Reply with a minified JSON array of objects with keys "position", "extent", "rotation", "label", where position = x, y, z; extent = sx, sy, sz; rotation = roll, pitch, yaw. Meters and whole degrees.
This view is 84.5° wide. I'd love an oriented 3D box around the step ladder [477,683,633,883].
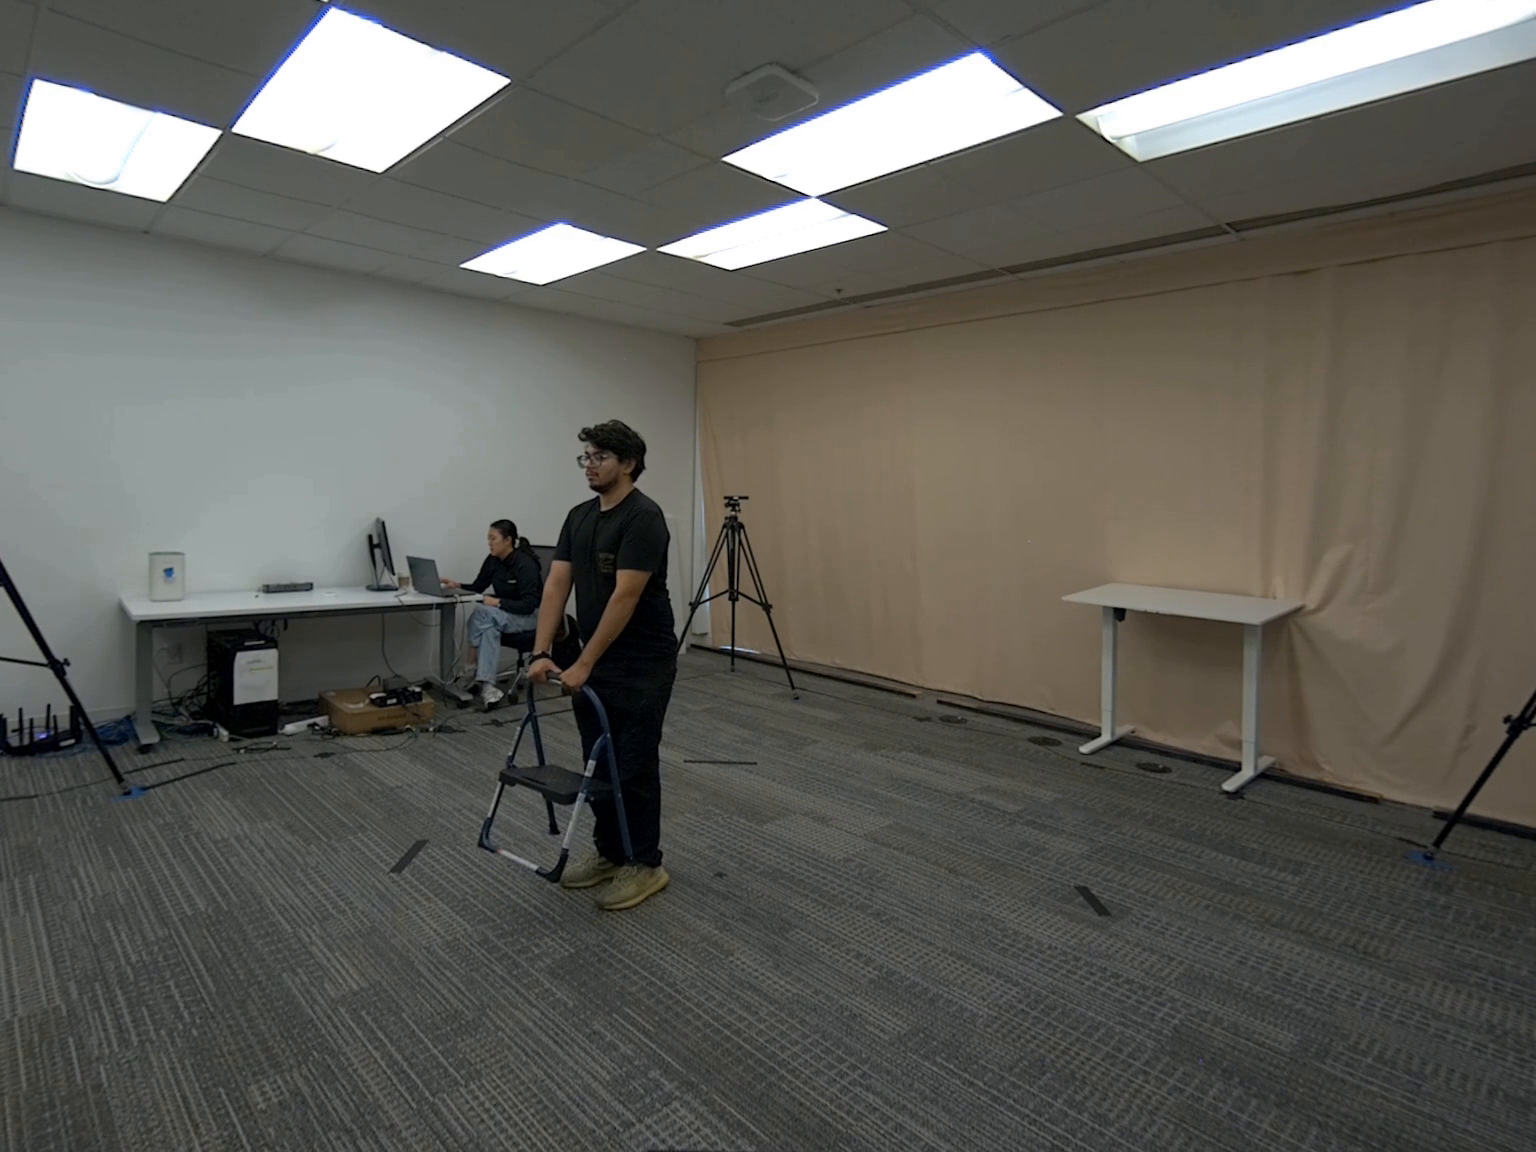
[{"position":[-0.687,0.638,2.818],"extent":[0.441,0.607,0.340],"rotation":[3,-4,38],"label":"step ladder"}]
